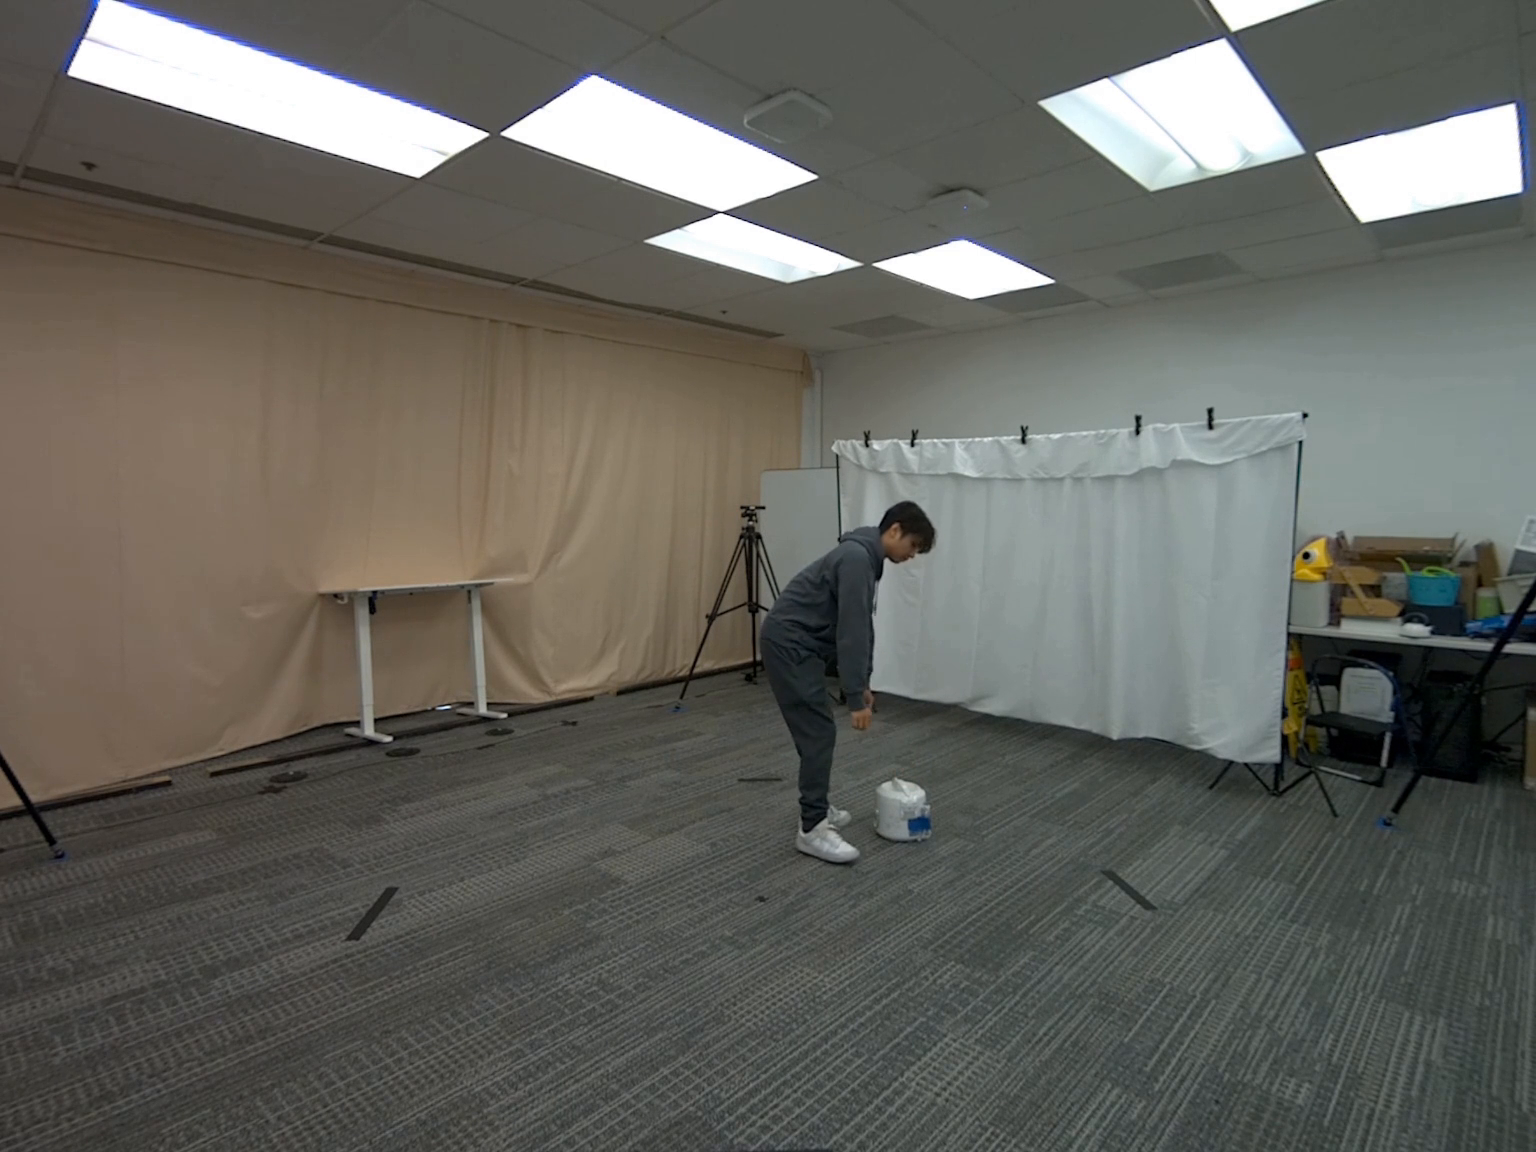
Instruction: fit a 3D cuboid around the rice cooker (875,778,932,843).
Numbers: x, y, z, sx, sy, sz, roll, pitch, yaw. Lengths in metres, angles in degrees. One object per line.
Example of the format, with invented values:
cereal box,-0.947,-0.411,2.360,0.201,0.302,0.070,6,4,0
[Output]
rice cooker,0.561,0.983,3.552,0.215,0.232,0.223,0,4,-9
